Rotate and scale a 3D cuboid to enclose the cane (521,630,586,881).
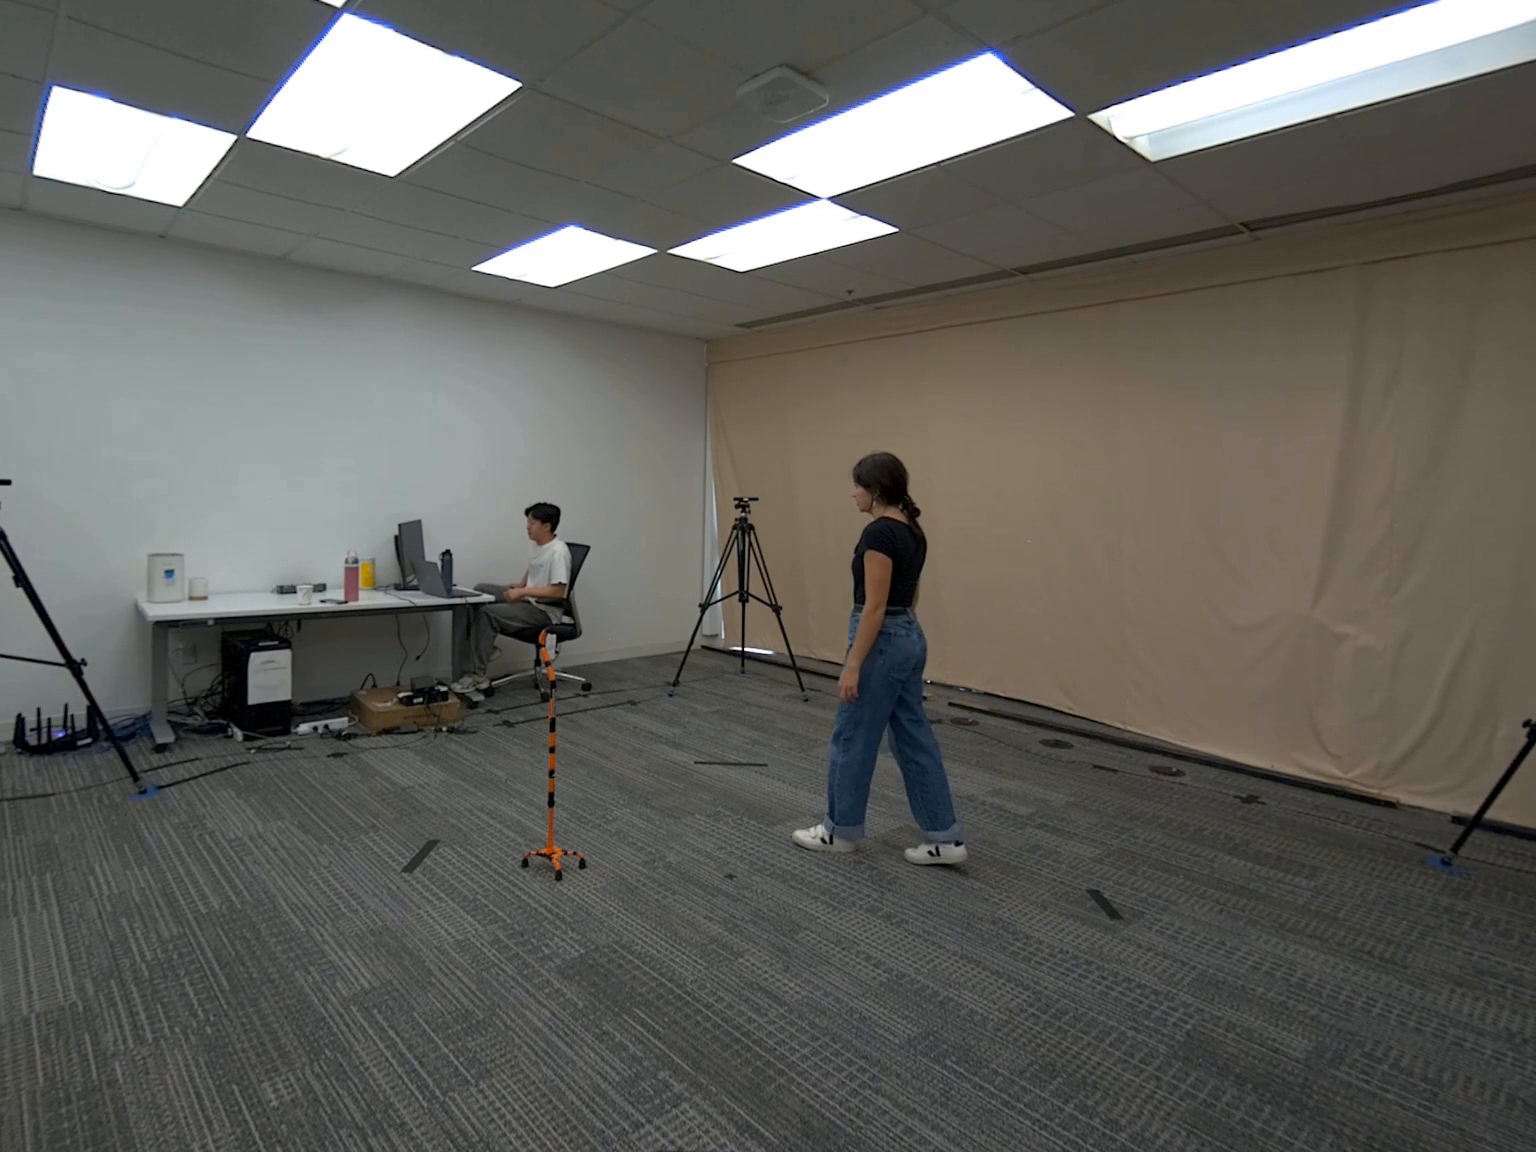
[{"bbox_3d":[-0.801,0.643,3.116,0.211,0.905,0.148,3,4,32],"label":"cane"}]
